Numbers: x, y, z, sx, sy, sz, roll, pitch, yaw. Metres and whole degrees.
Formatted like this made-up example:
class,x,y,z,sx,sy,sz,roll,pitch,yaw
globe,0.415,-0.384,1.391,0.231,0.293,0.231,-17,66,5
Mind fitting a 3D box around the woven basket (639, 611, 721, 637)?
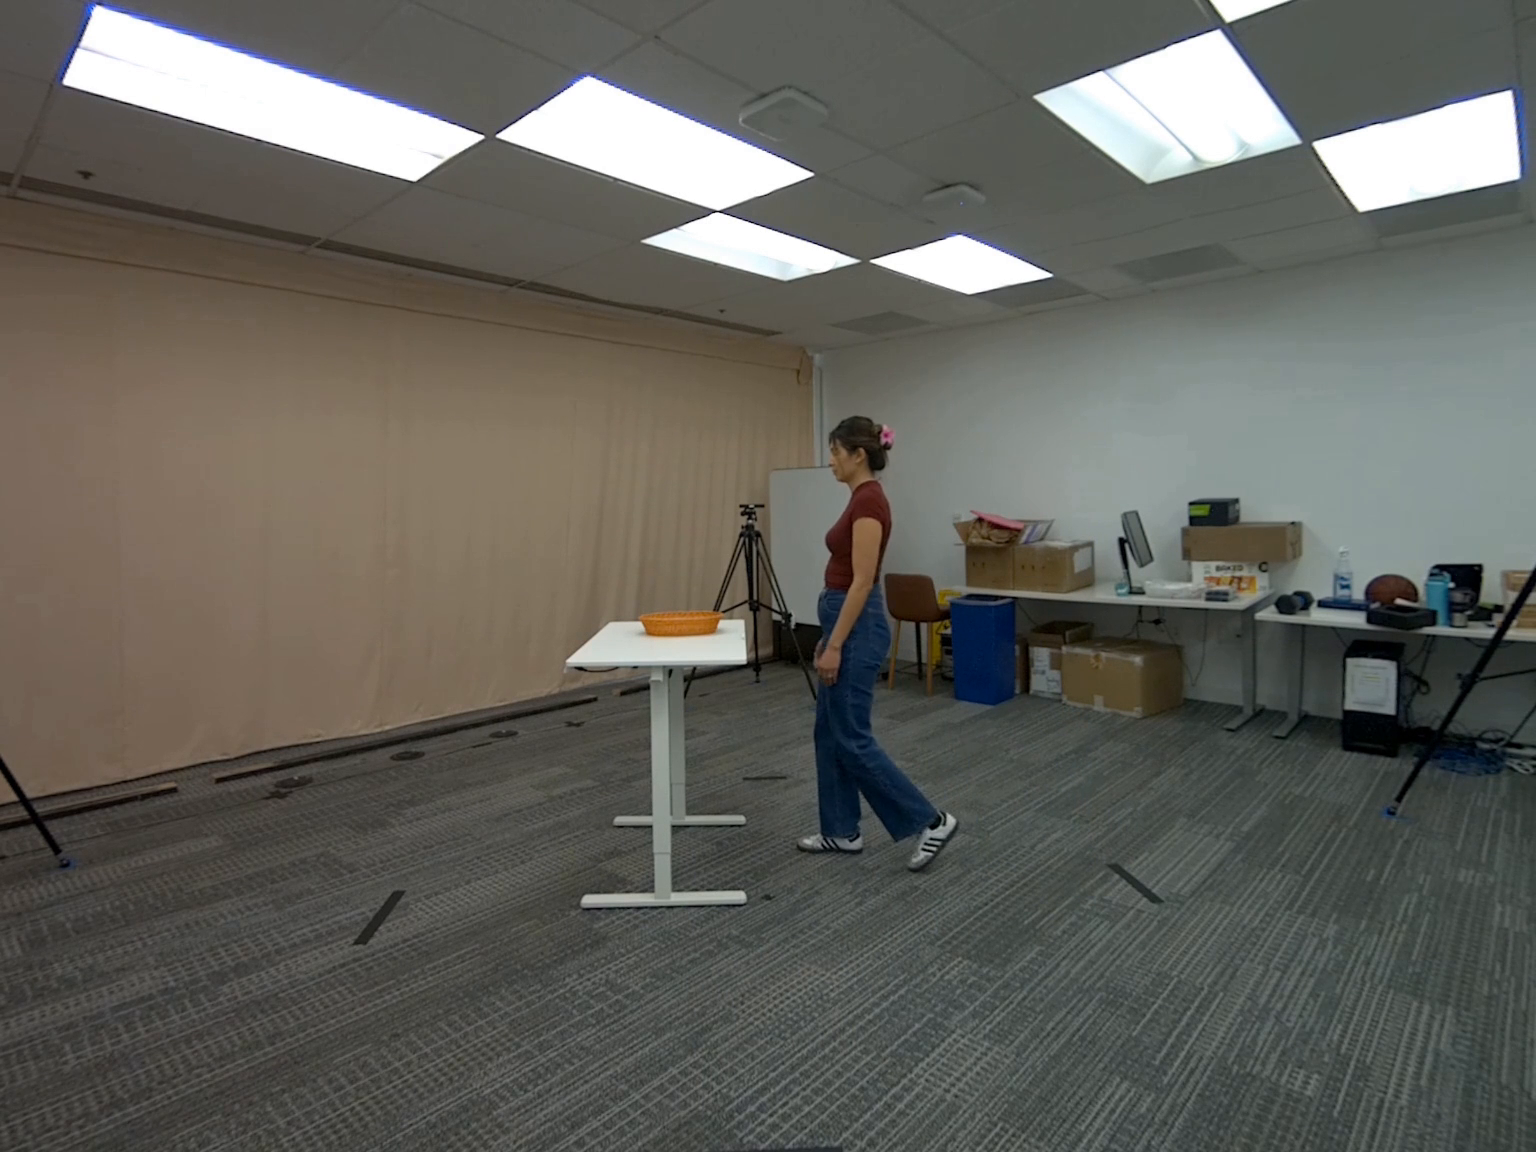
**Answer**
class,x,y,z,sx,sy,sz,roll,pitch,yaw
woven basket,-0.349,0.199,3.424,0.348,0.073,0.254,-1,3,-6
